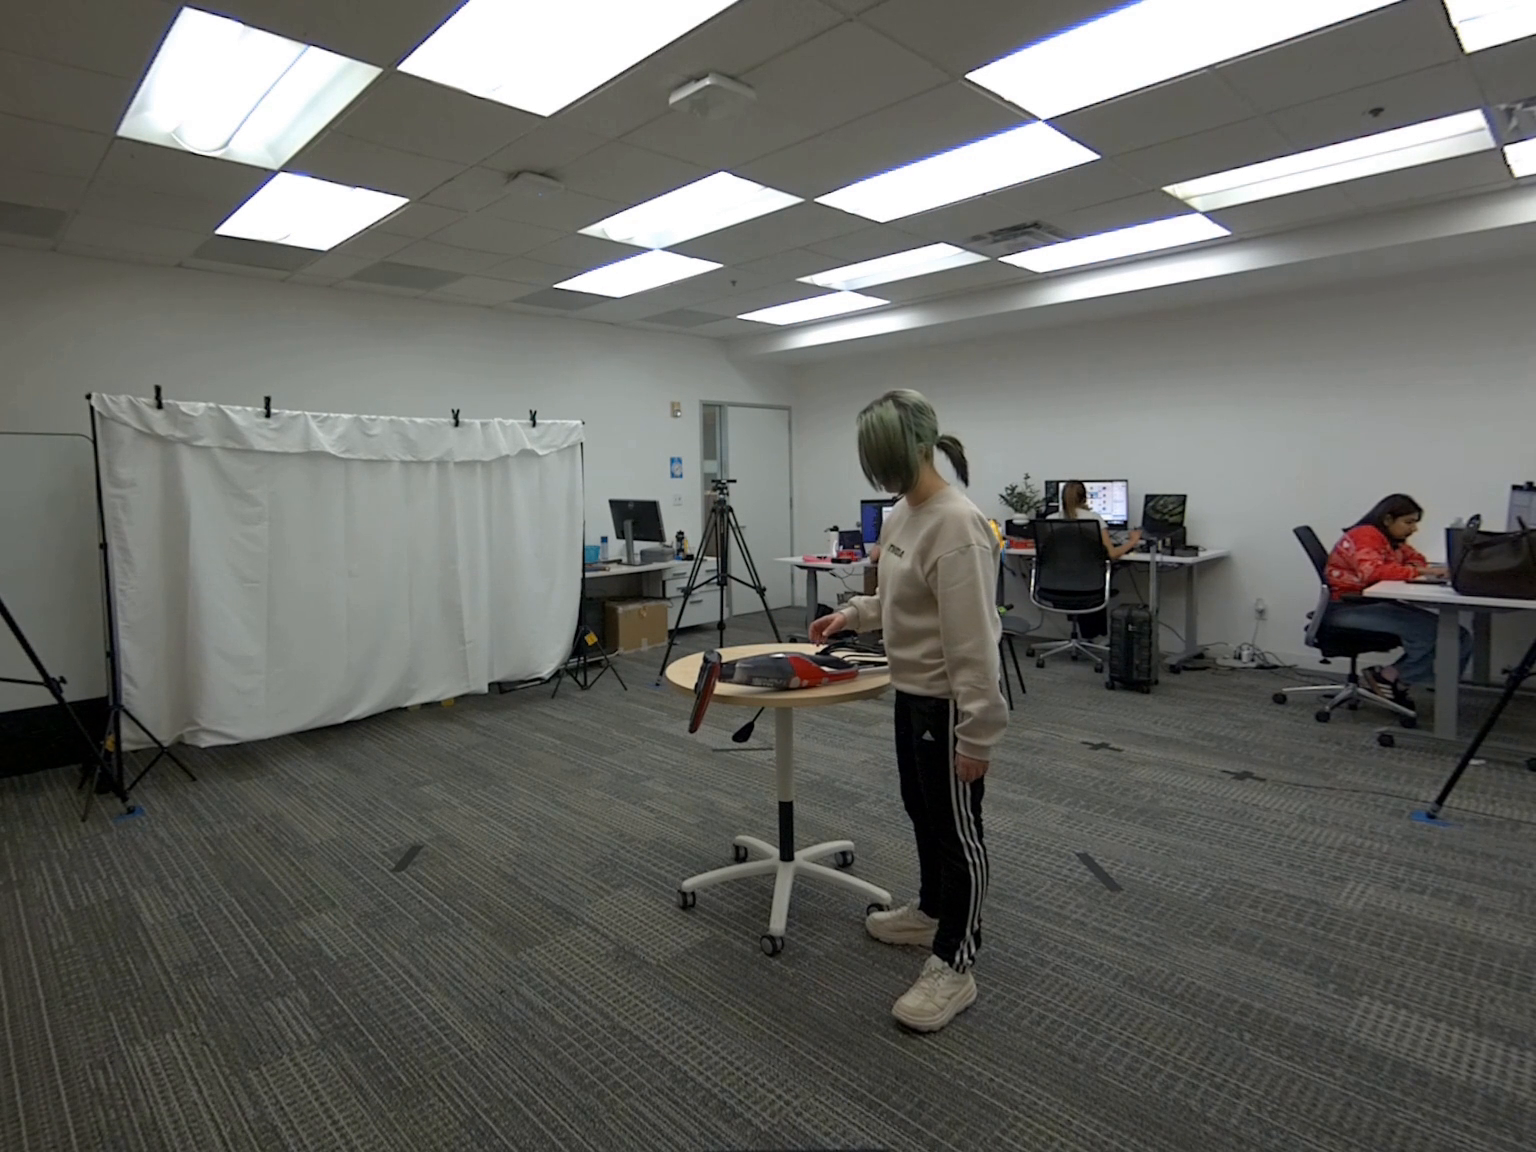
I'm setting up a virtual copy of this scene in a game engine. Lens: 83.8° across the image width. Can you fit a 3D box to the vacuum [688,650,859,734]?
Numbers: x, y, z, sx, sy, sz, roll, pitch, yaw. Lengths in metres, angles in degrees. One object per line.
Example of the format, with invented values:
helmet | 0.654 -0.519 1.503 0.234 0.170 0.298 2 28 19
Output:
vacuum | 0.260 0.285 2.616 1.025 0.248 0.150 -3 37 -29
